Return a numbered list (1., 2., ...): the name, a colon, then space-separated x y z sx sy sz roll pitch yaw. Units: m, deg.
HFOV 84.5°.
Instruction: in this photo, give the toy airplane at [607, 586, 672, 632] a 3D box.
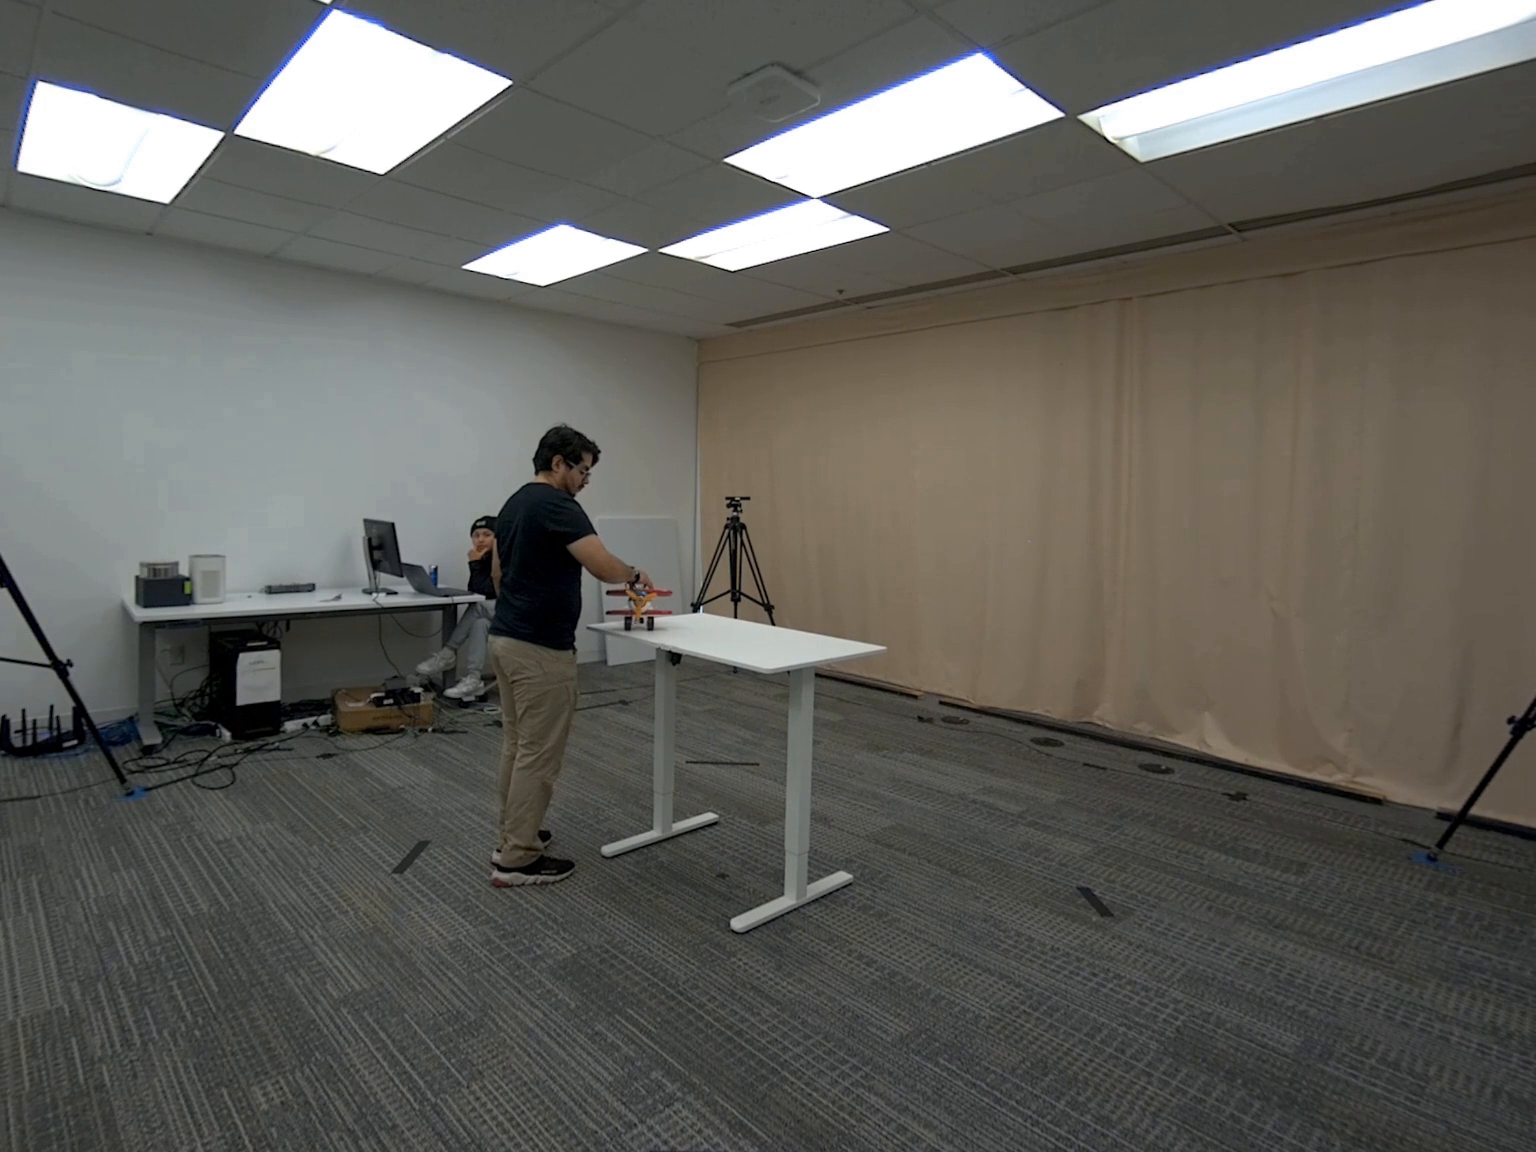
1. toy airplane: -0.532 0.122 3.260 0.245 0.156 0.266 -2 7 -36
